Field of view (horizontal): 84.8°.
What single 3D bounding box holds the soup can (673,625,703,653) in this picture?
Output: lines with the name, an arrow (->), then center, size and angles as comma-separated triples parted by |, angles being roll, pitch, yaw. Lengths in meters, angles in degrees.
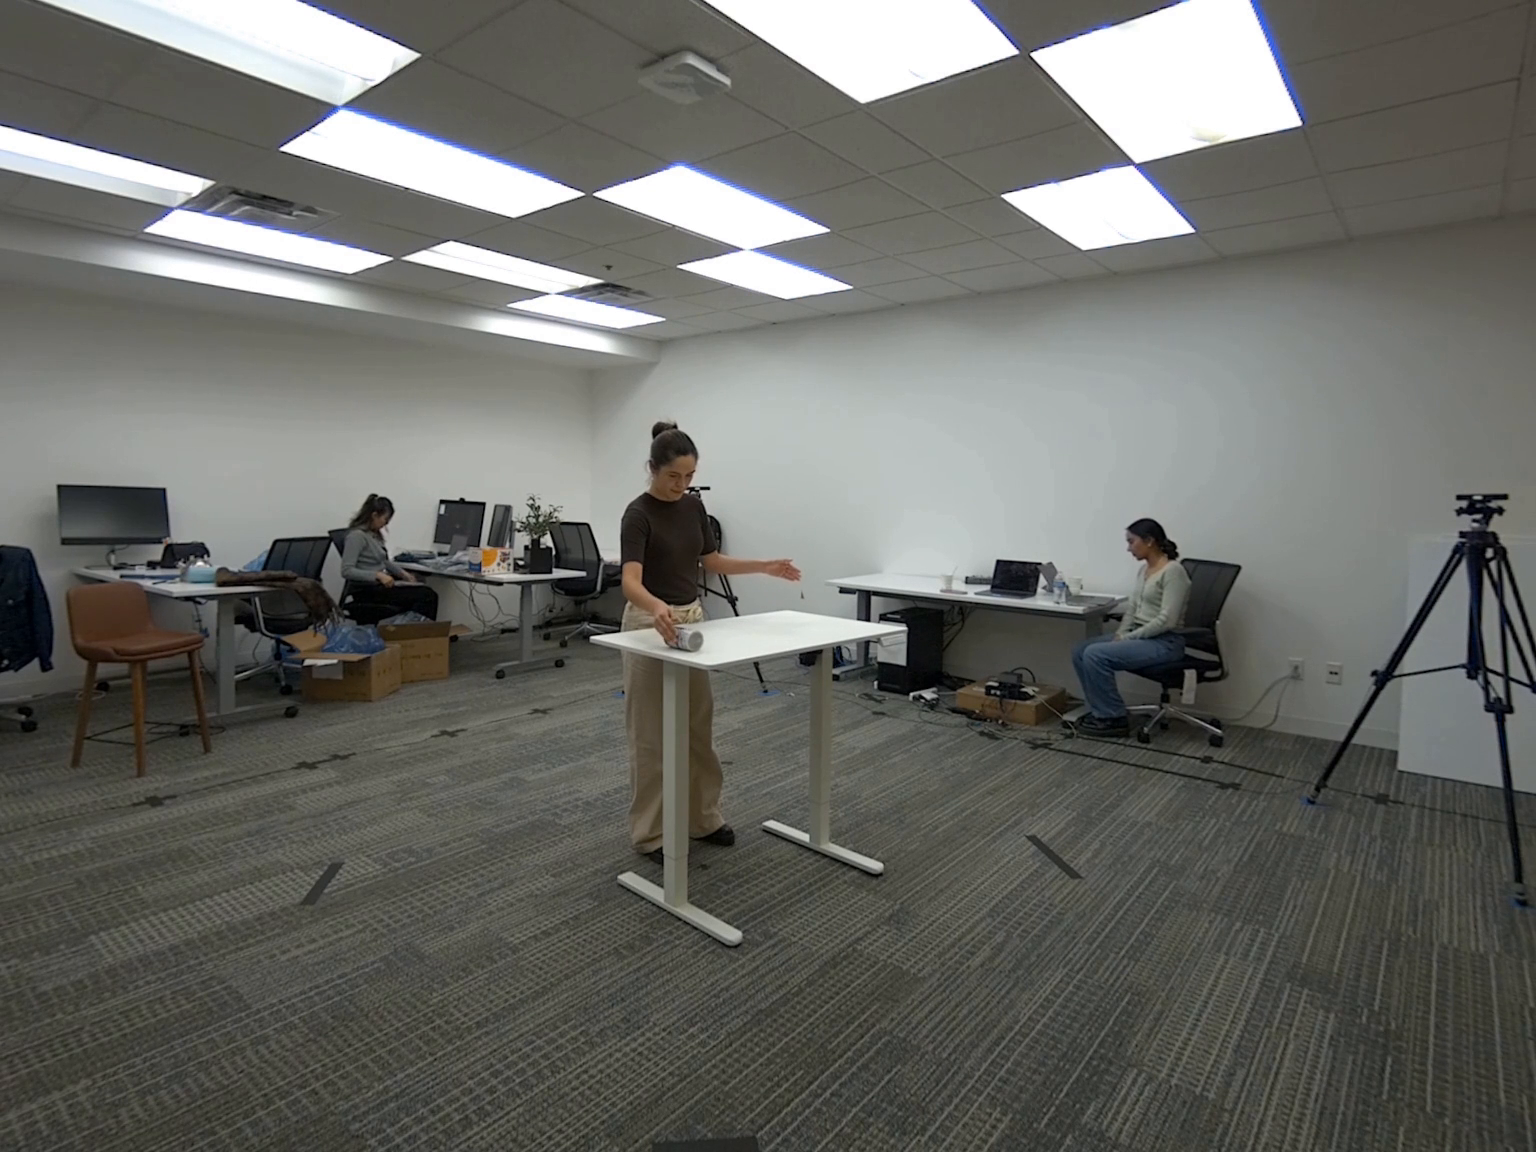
soup can -> -0.271, 0.193, 2.669 | 0.065, 0.067, 0.125 | -3, 4, -41
